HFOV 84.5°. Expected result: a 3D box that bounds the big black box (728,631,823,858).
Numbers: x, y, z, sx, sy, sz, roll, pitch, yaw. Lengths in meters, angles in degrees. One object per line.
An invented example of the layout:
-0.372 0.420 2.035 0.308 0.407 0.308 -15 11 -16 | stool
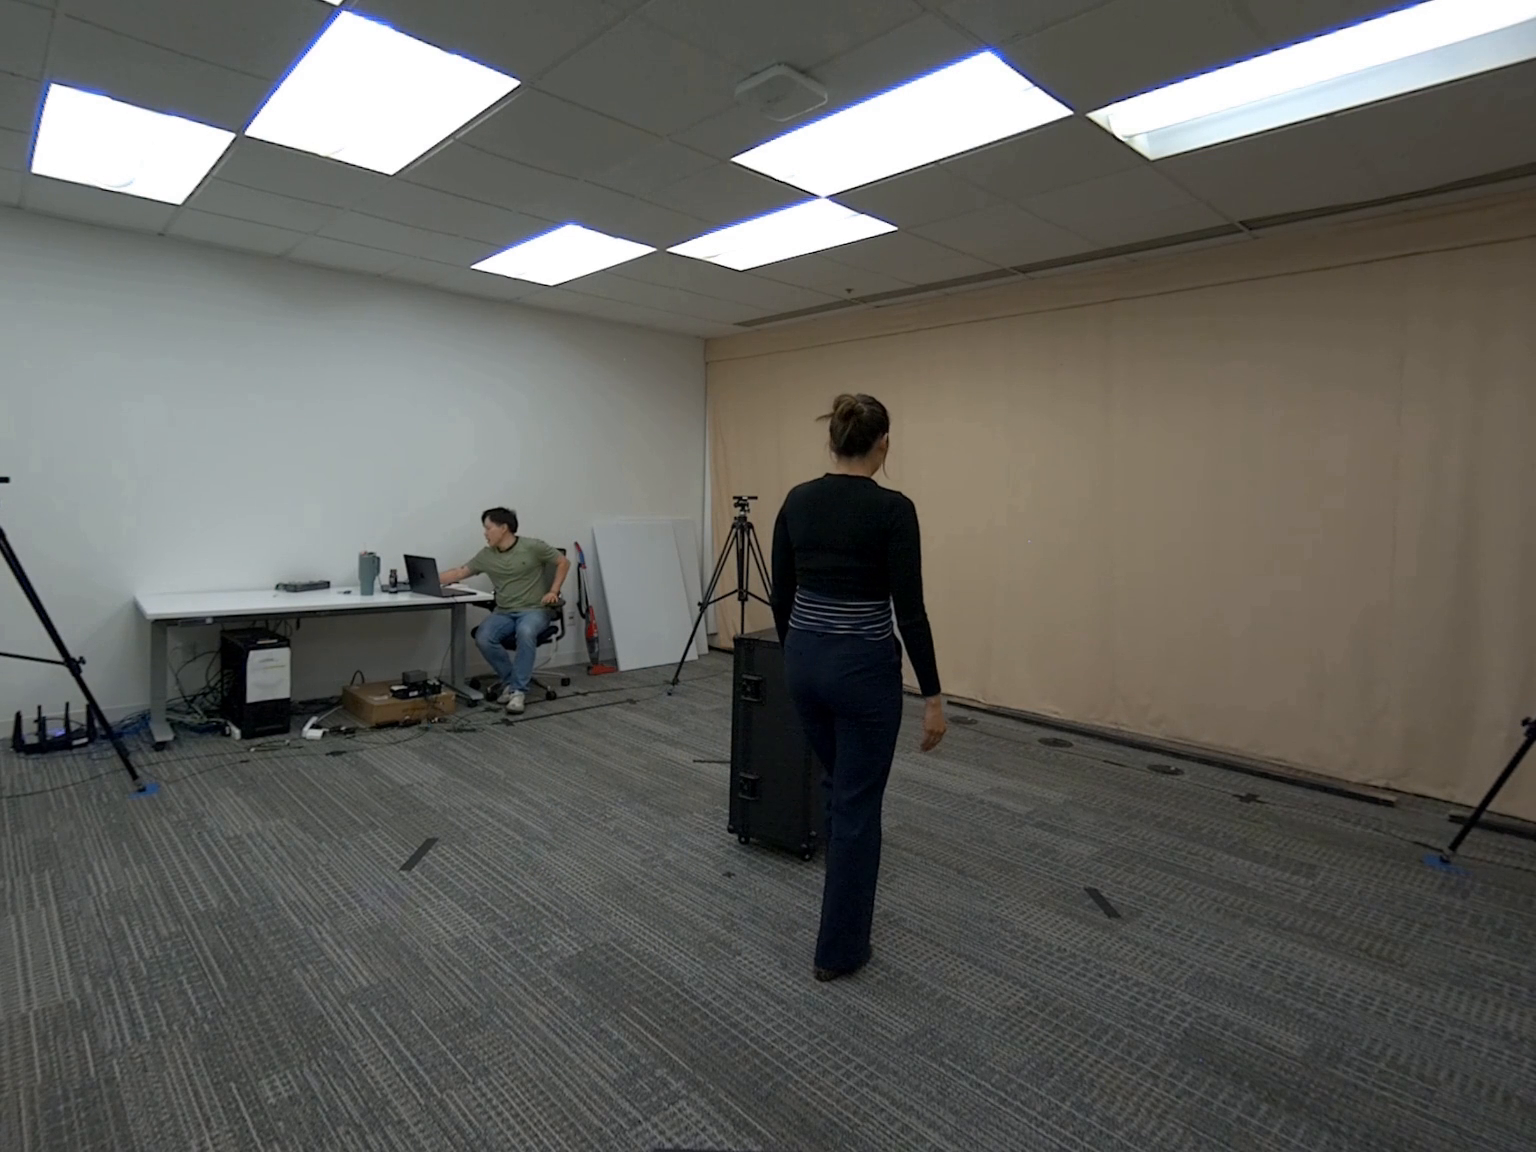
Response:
0.126 0.656 3.413 0.405 0.859 0.511 5 4 31 | big black box
